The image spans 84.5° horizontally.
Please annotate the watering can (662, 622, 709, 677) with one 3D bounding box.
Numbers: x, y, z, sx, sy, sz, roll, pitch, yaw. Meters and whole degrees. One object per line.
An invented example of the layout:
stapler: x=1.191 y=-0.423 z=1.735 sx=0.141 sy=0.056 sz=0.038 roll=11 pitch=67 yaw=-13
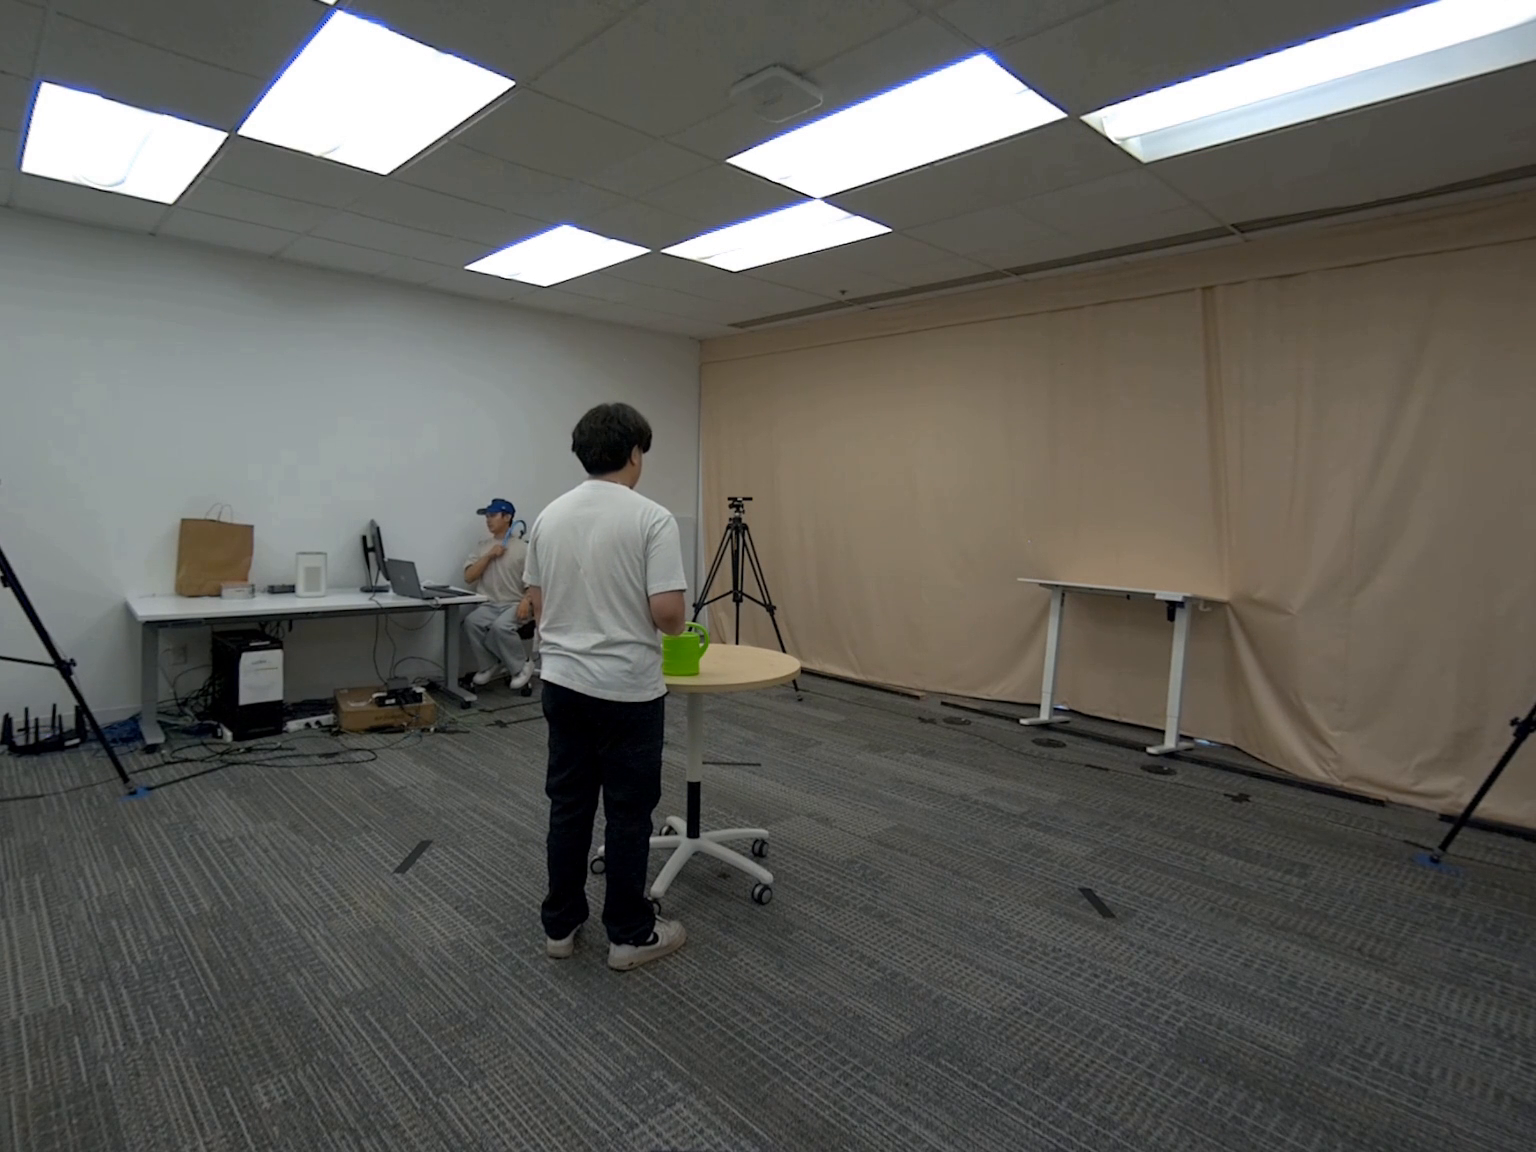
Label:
watering can: x=-0.351 y=0.248 z=2.867 sx=0.280 sy=0.176 sz=0.097 roll=3 pitch=3 yaw=8
